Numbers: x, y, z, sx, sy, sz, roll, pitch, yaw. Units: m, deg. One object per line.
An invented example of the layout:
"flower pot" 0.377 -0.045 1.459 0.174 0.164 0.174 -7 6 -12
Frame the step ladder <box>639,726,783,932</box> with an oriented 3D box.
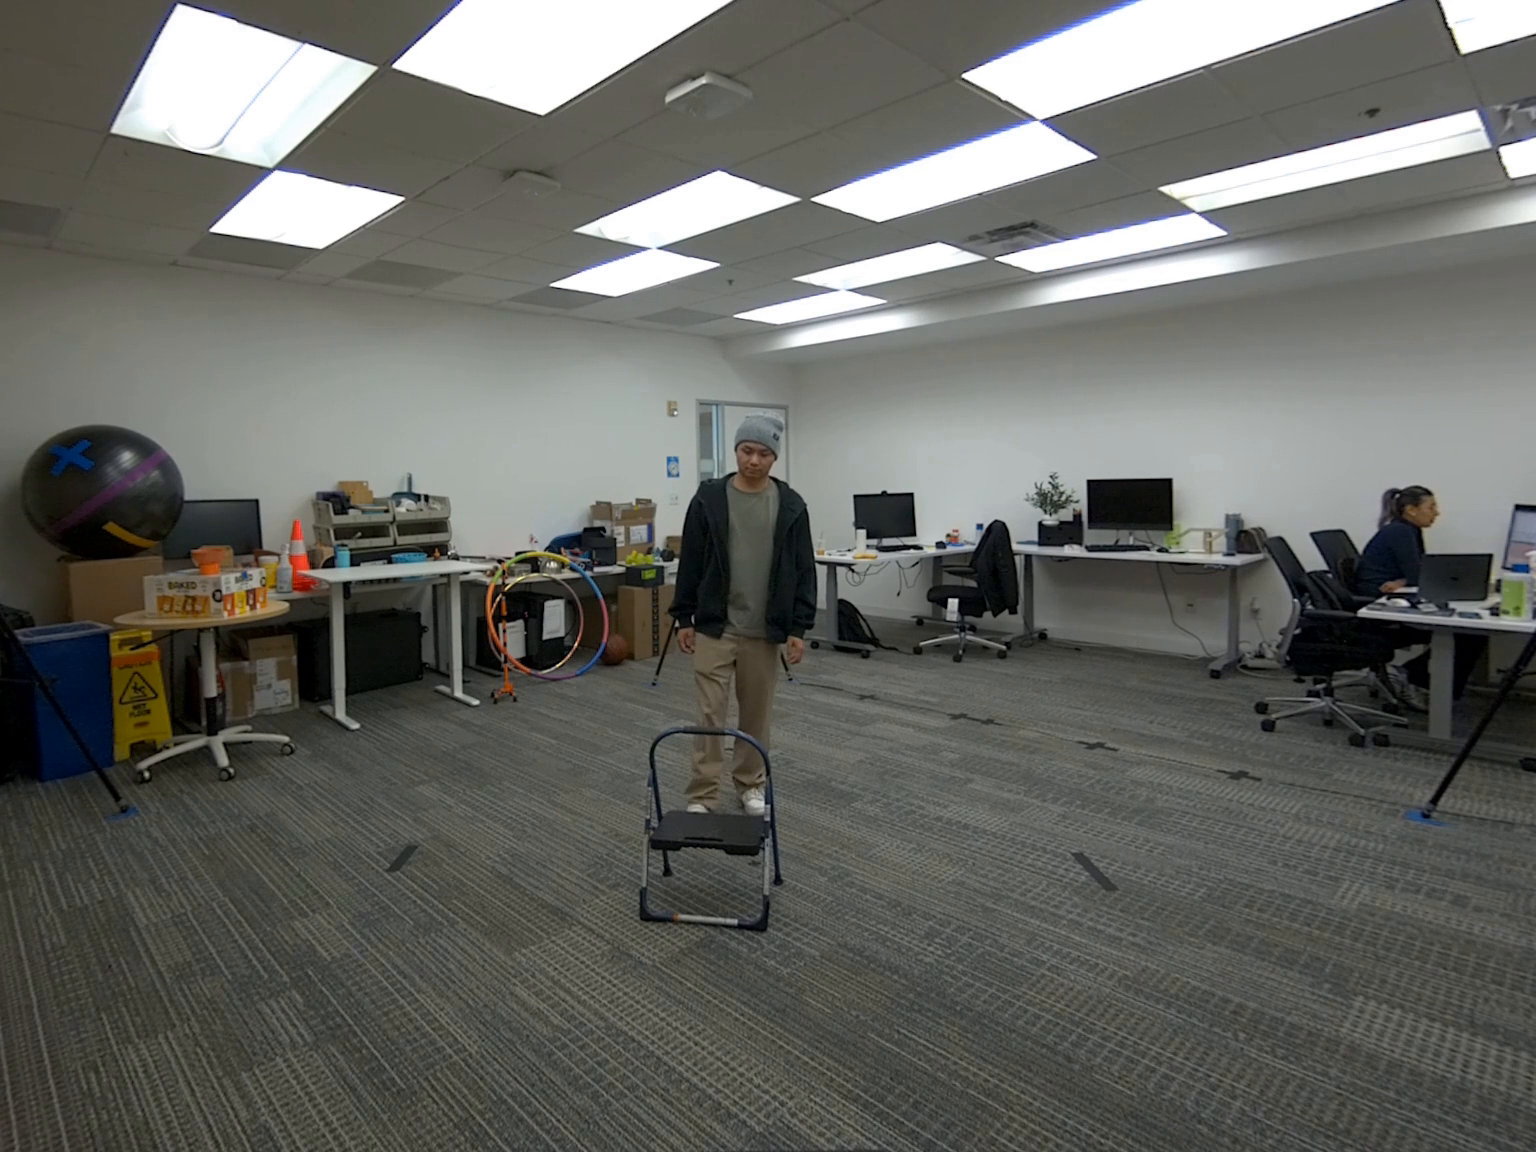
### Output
"step ladder" -0.189 0.782 2.822 0.435 0.604 0.347 0 4 10
